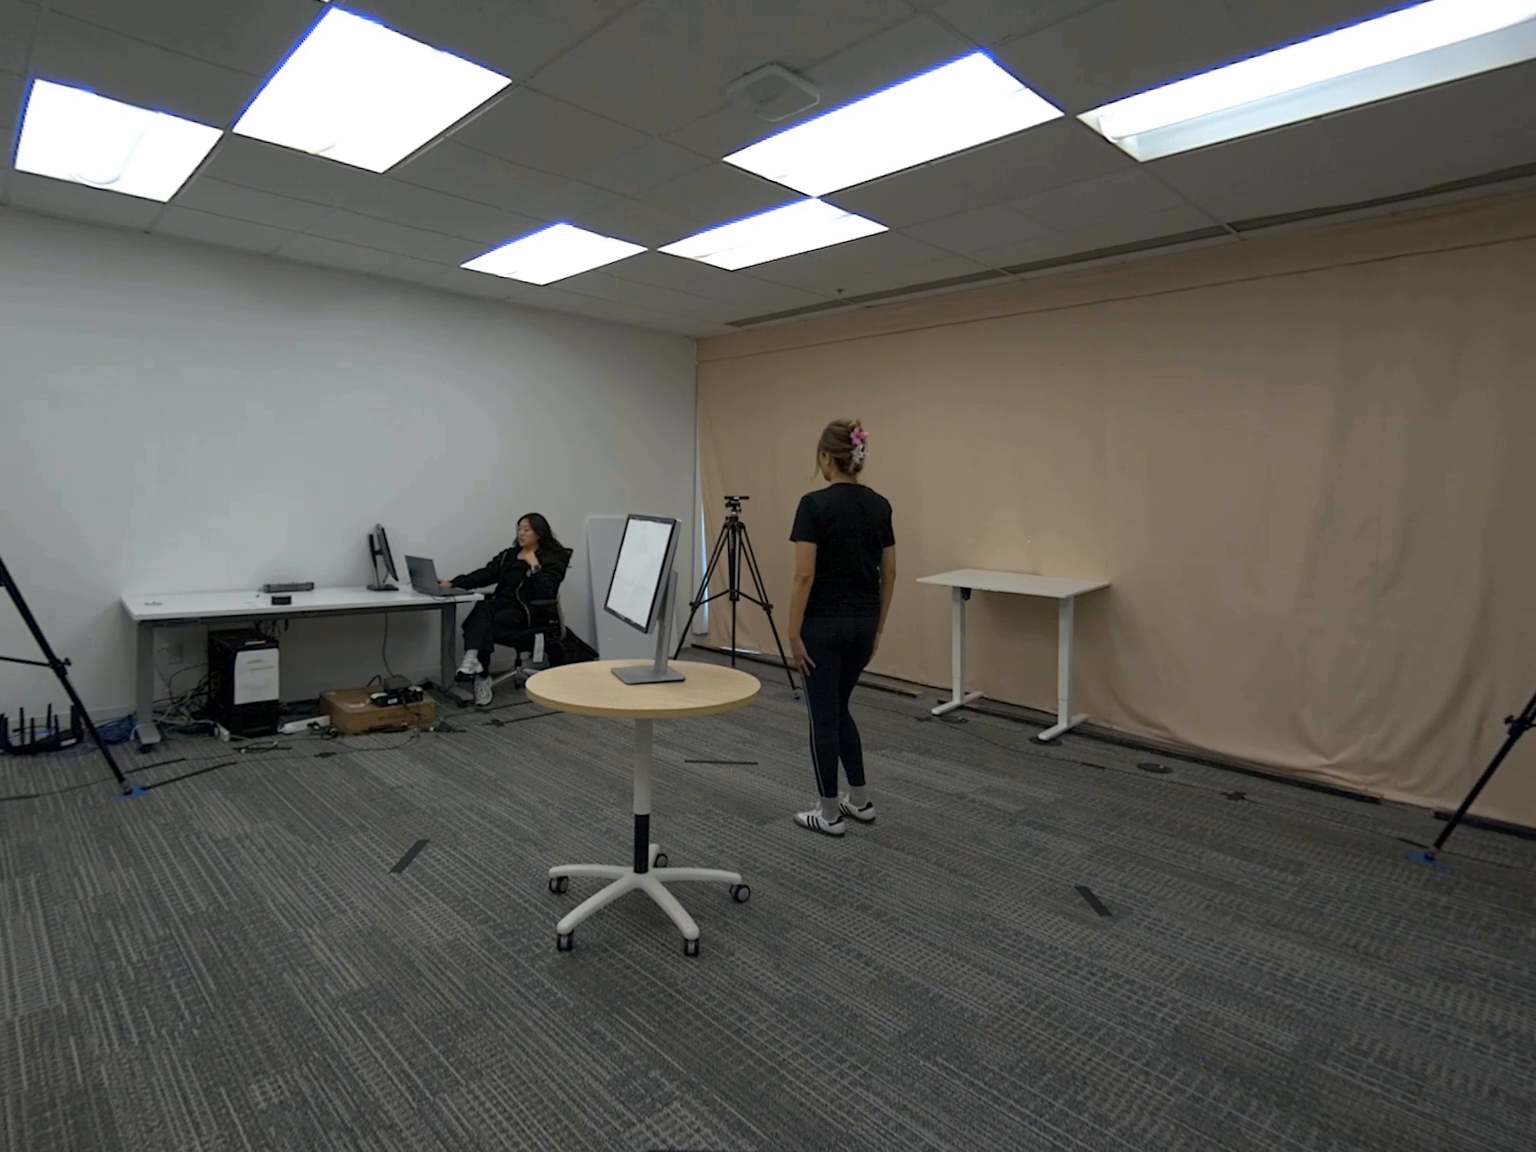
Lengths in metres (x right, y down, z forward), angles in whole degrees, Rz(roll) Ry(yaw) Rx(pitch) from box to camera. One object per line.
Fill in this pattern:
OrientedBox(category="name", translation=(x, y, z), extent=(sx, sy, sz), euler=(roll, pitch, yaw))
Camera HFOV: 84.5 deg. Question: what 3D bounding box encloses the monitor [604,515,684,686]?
OrientedBox(category="monitor", translation=(-0.406, 0.078, 2.844), extent=(0.184, 0.521, 0.550), euler=(0, 4, -26))
